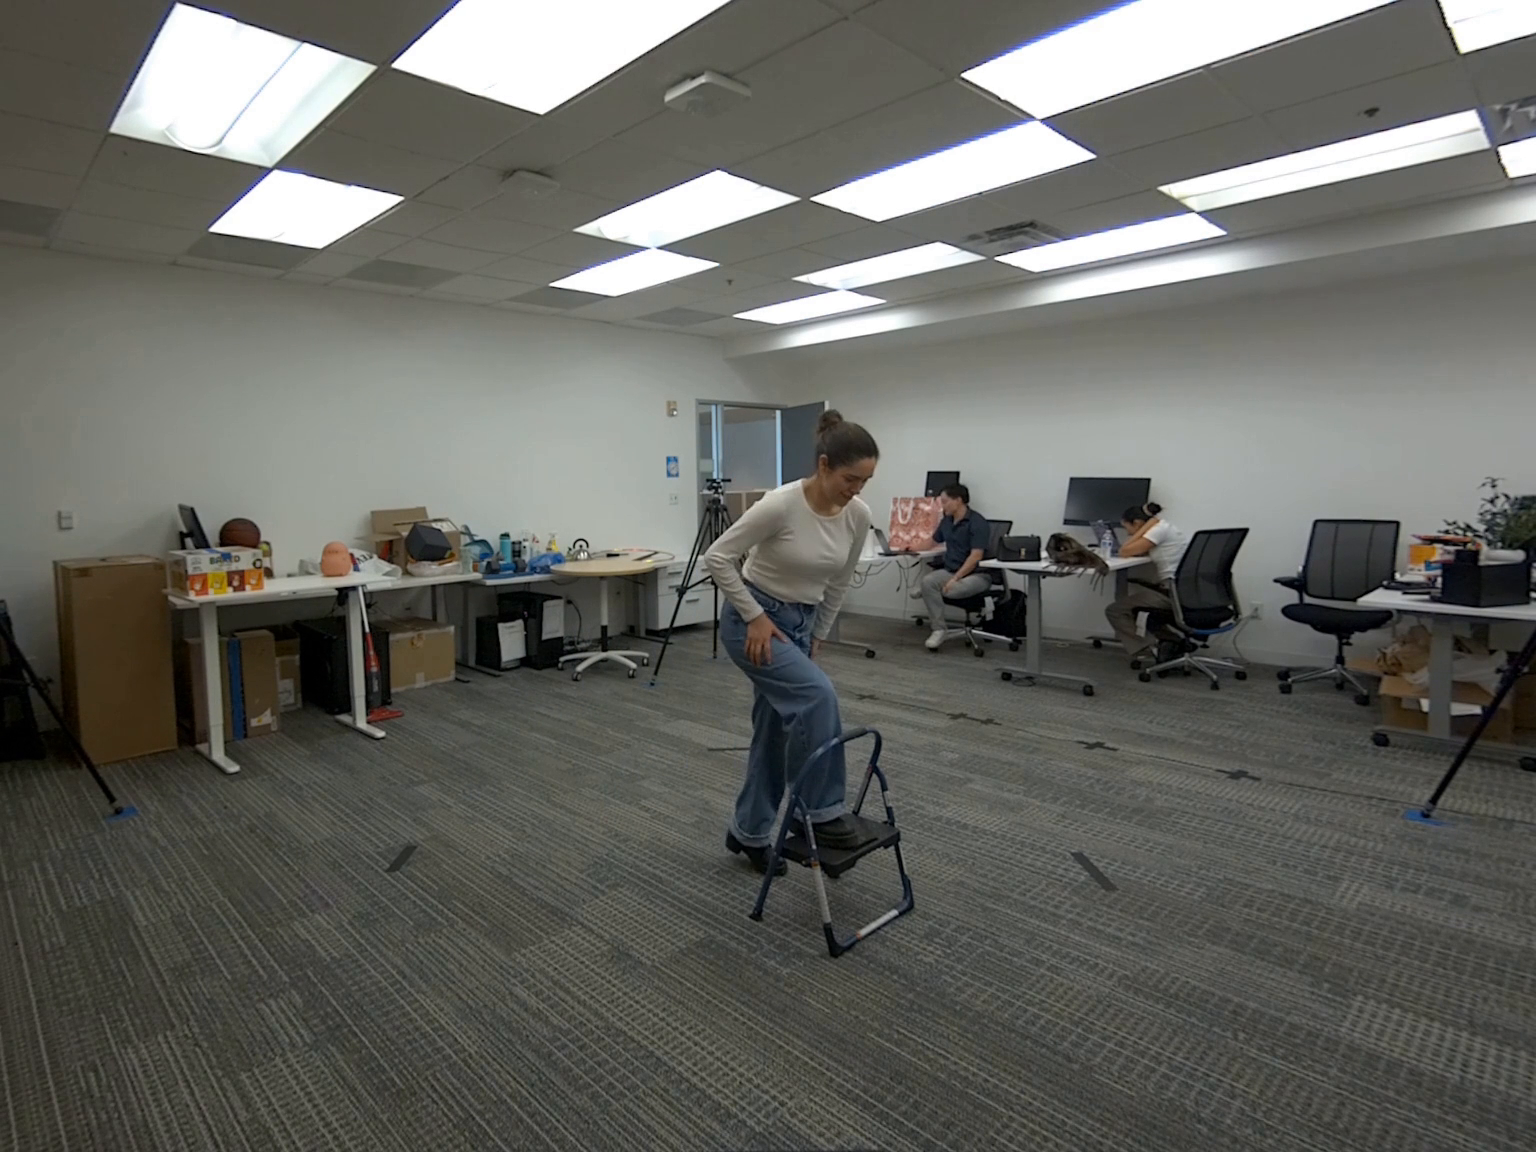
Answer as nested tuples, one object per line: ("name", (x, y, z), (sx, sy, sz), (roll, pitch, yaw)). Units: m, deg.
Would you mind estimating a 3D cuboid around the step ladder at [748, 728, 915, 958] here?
("step ladder", (0.207, 0.780, 2.726), (0.360, 0.604, 0.419), (3, 6, 44))
